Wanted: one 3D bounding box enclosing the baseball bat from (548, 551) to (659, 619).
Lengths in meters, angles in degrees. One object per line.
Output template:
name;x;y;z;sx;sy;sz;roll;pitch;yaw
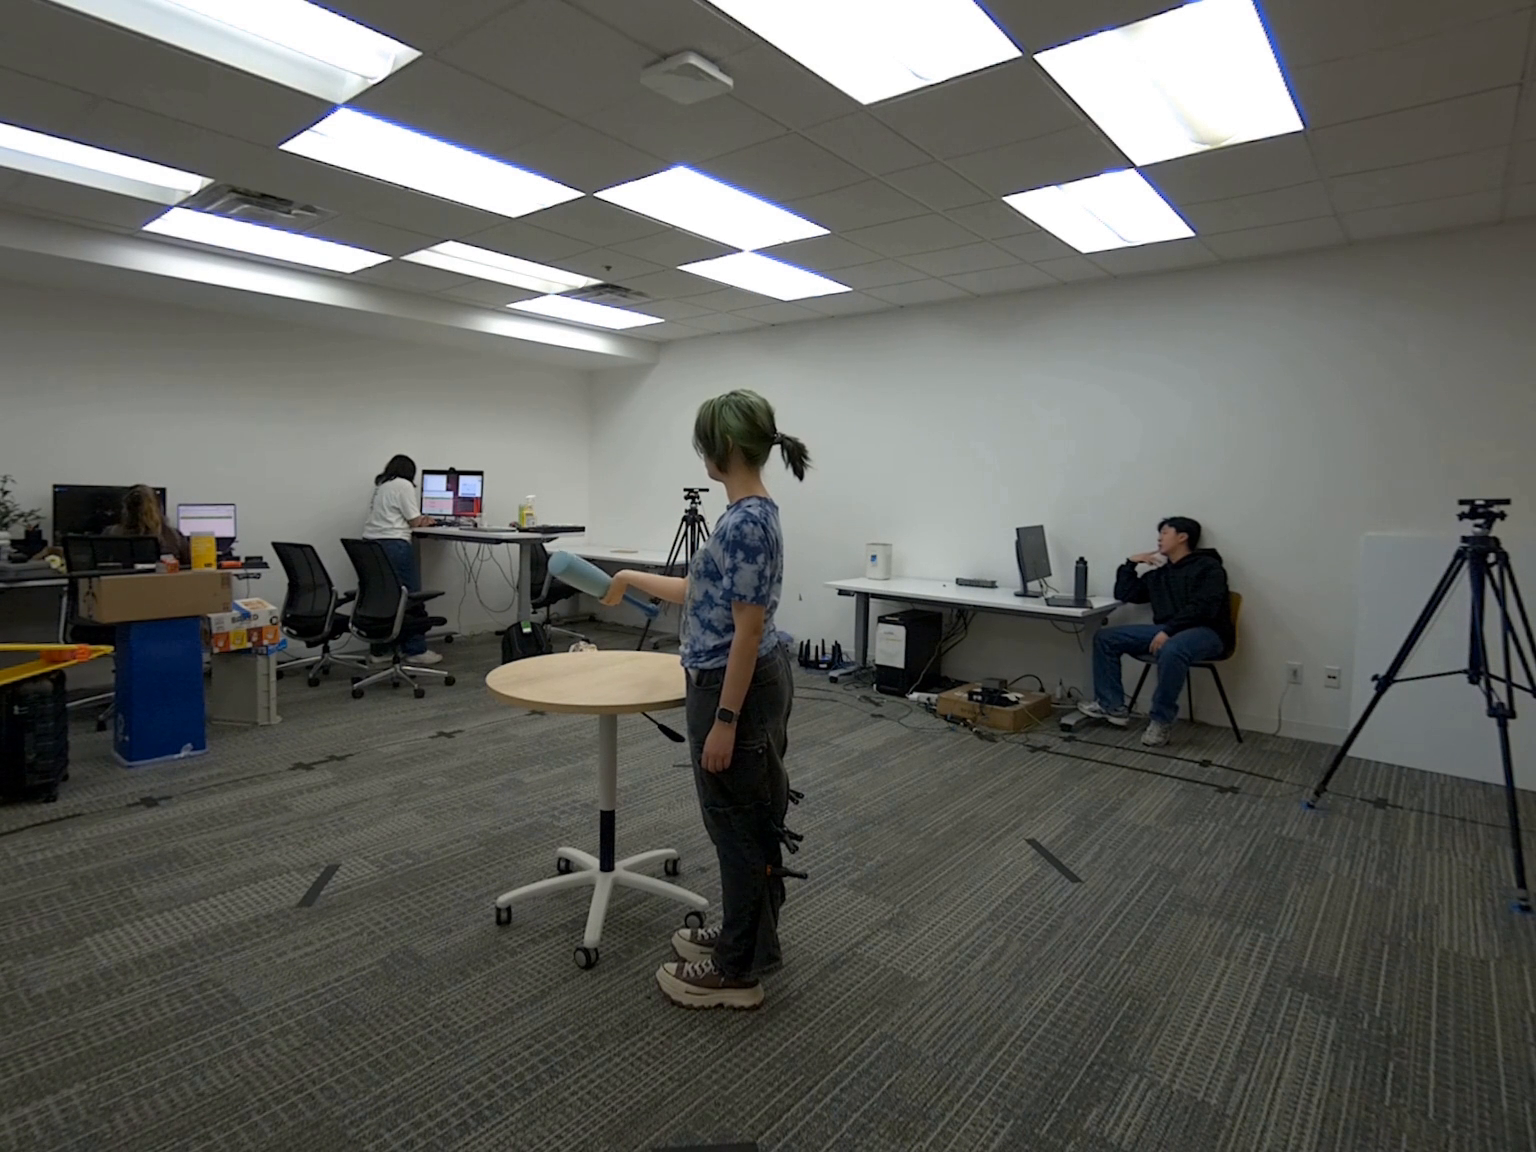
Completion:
baseball bat;-0.541;0.043;2.743;0.091;0.090;0.522;3;-17;28
